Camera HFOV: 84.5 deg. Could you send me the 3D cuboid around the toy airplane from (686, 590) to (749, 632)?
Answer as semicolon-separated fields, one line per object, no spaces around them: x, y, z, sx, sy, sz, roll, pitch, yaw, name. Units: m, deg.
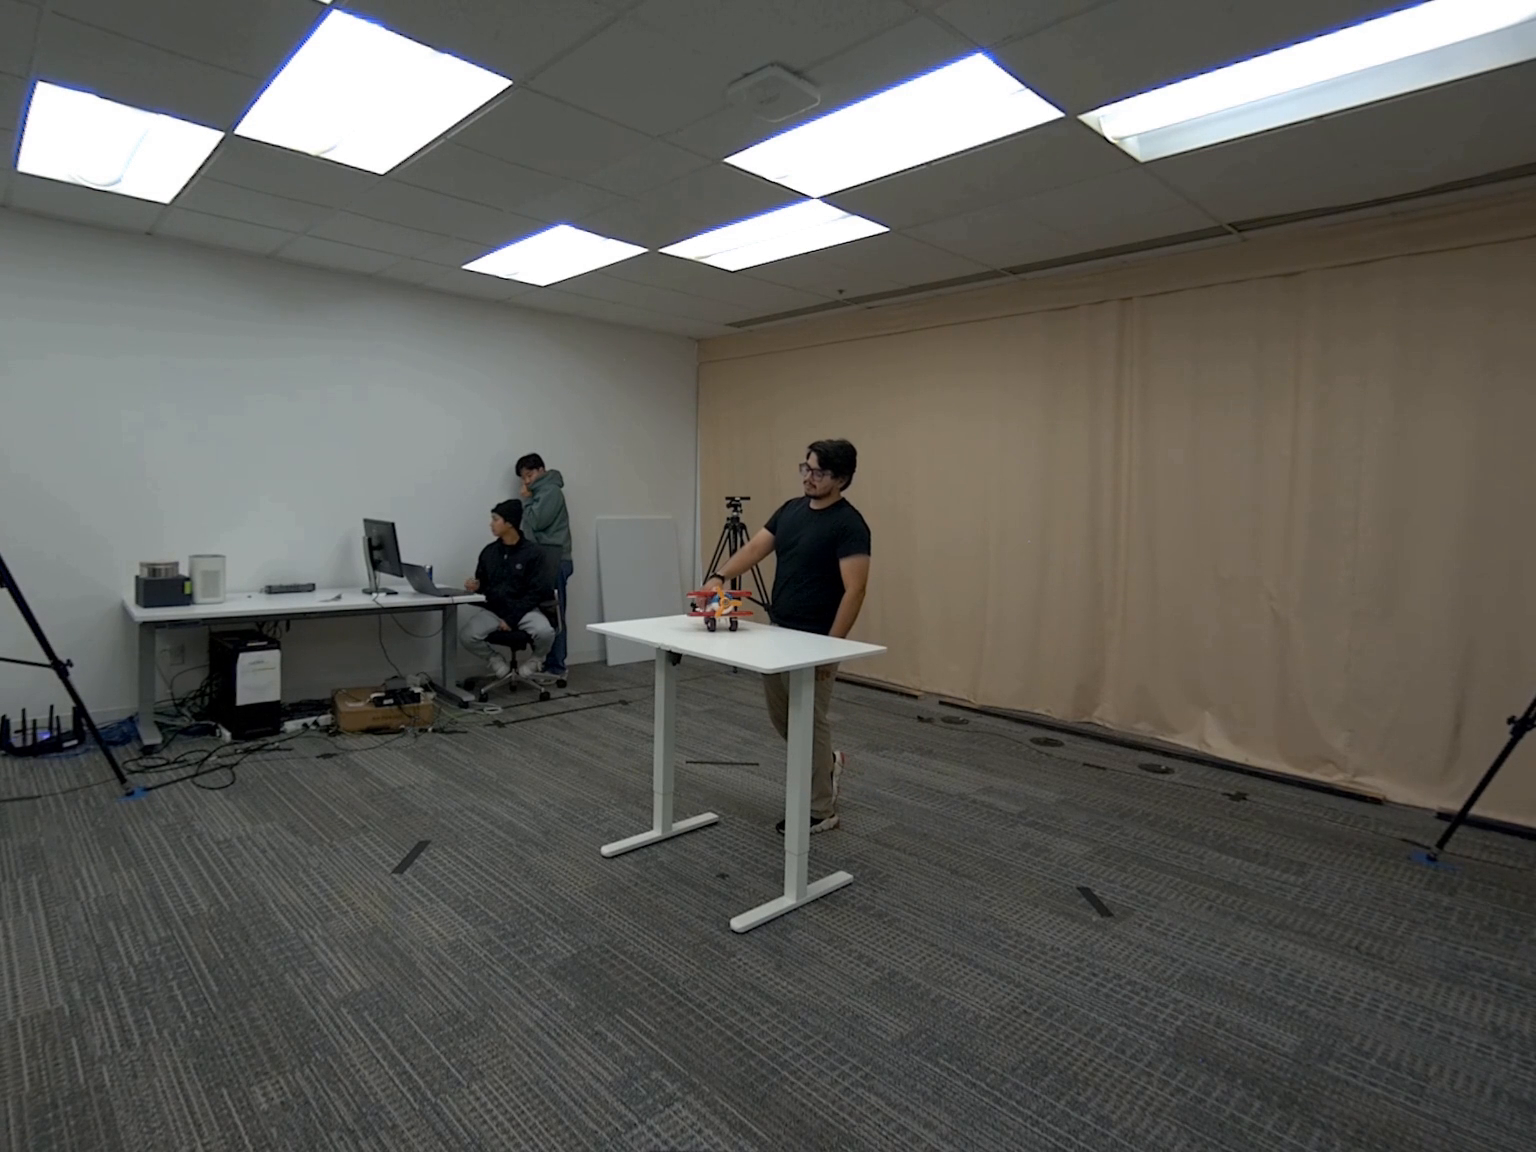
-0.225;0.125;3.279;0.245;0.156;0.266;-3;7;-44;toy airplane
